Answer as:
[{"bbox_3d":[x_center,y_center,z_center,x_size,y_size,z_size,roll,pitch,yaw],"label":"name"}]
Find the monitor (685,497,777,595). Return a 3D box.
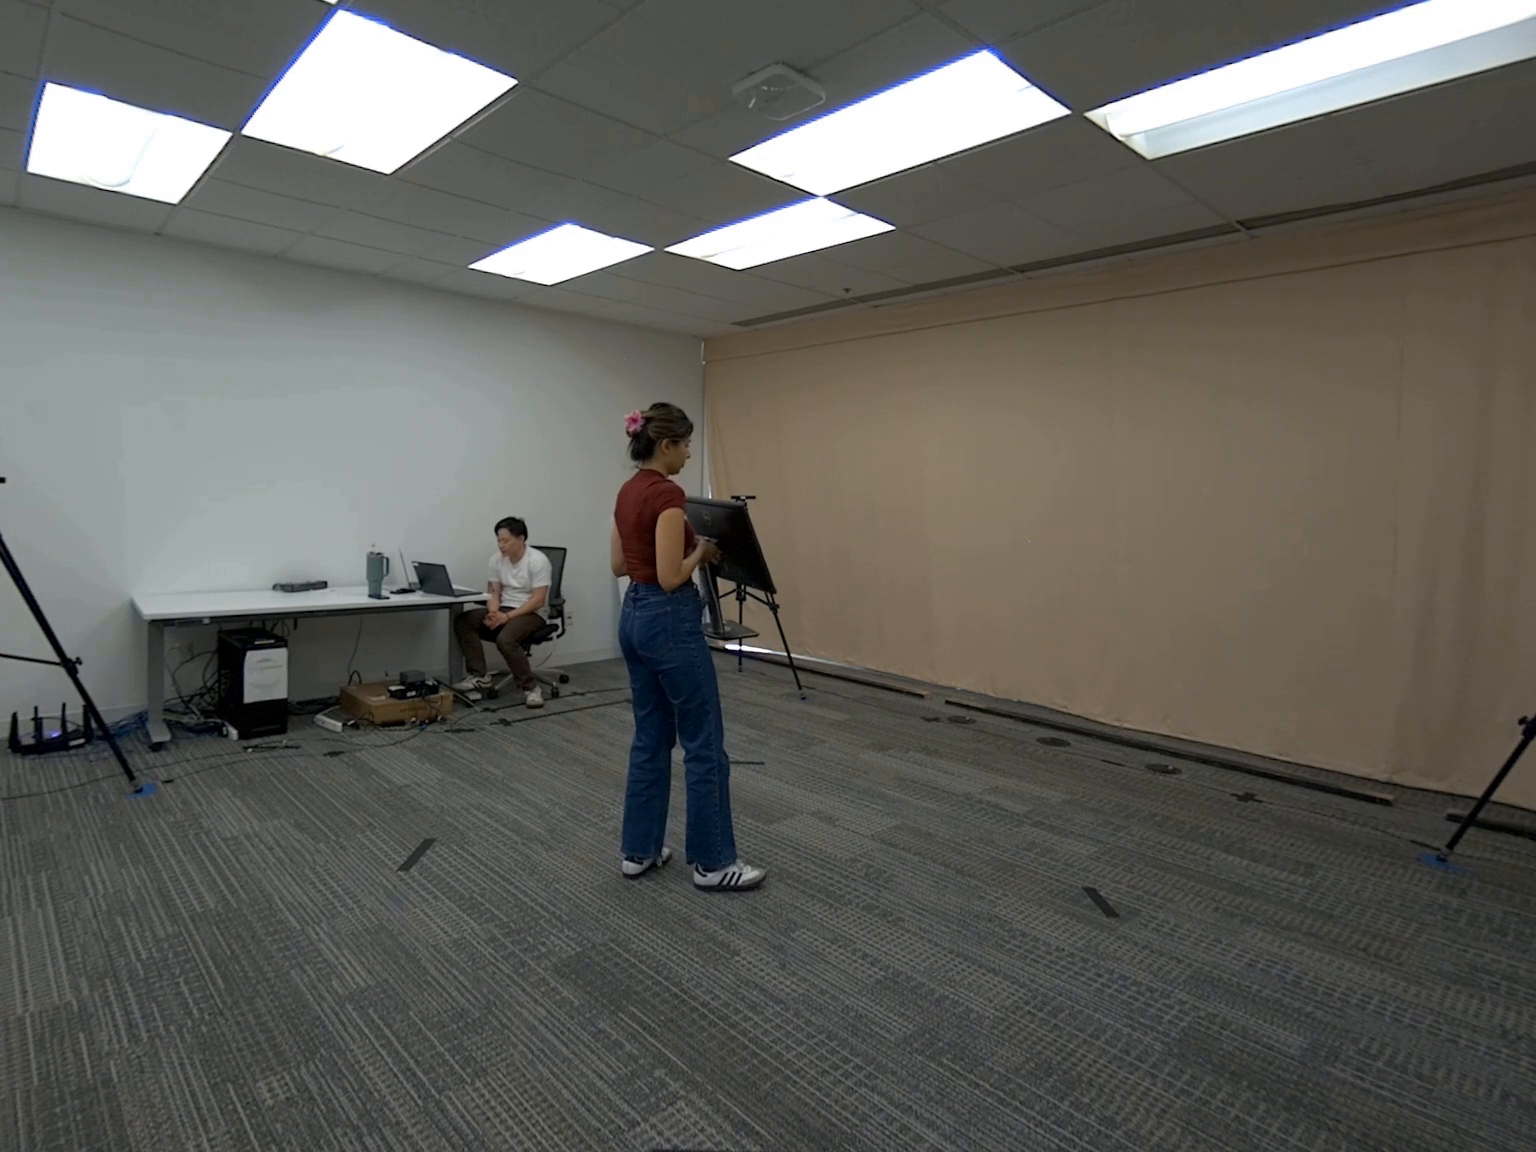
[{"bbox_3d":[-0.189,-0.036,3.183,0.184,0.518,0.552,-12,13,-29],"label":"monitor"}]
